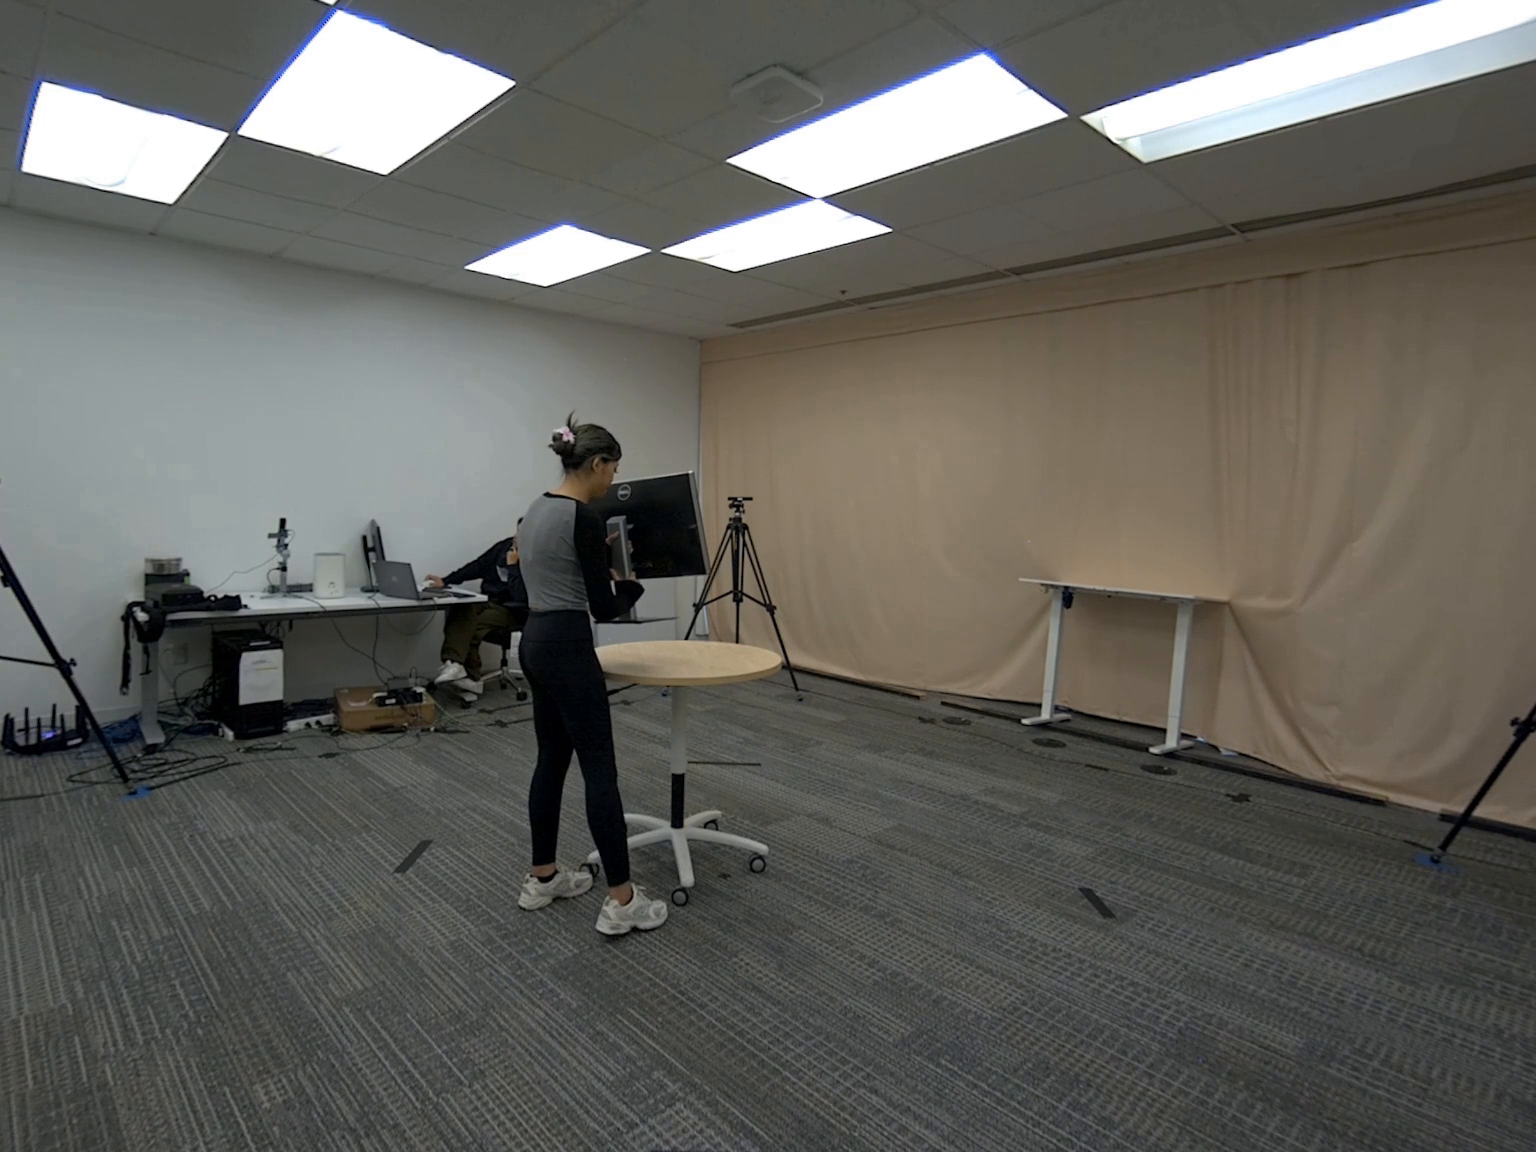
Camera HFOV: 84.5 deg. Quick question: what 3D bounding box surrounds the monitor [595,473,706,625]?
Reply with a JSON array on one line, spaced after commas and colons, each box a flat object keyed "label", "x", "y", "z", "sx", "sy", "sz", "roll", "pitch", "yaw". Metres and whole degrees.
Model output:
[{"label": "monitor", "x": -0.492, "y": -0.085, "z": 2.993, "sx": 0.549, "sy": 0.523, "sz": 0.183, "roll": -3, "pitch": -2, "yaw": 29}]
